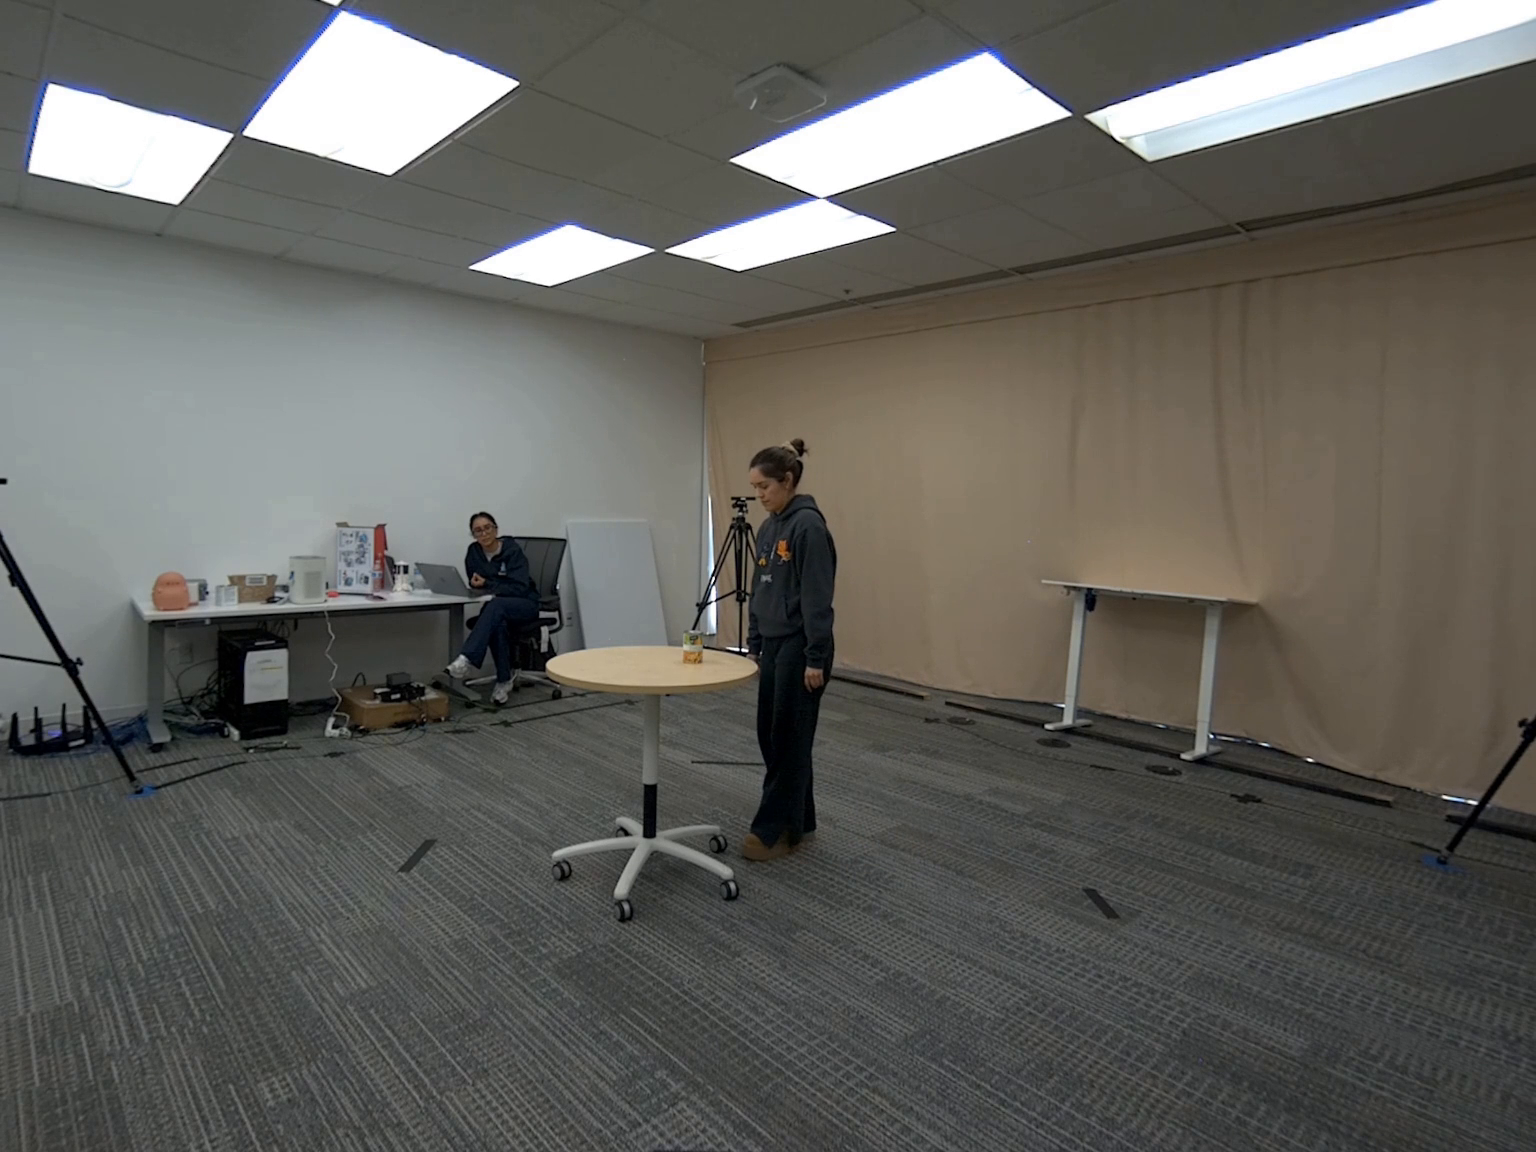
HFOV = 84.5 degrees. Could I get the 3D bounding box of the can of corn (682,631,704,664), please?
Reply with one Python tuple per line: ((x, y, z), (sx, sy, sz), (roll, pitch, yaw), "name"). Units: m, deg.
((-0.288, 0.265, 3.126), (0.074, 0.111, 0.074), (0, 2, -1), "can of corn")
